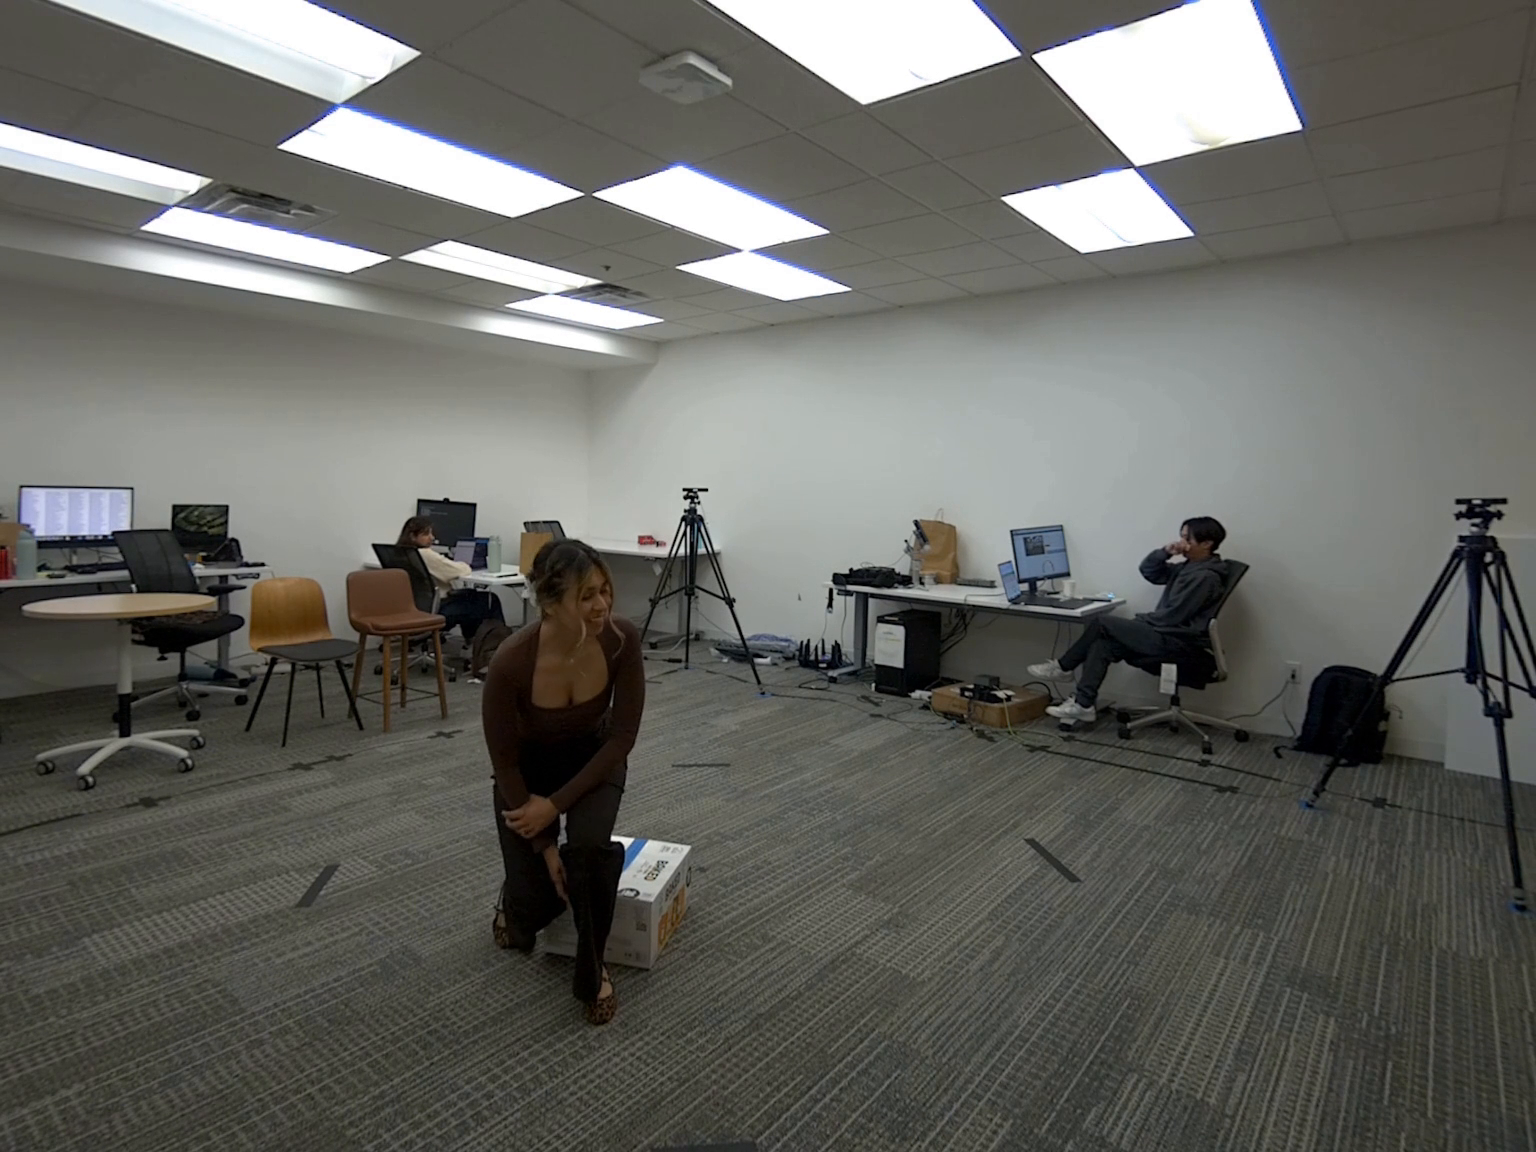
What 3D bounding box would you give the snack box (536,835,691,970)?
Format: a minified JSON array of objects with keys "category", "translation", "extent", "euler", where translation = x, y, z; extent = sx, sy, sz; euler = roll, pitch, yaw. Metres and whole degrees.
[{"category":"snack box","translation":[-0.469,1.006,2.673],"extent":[0.345,0.205,0.401],"euler":[2,5,13]}]
